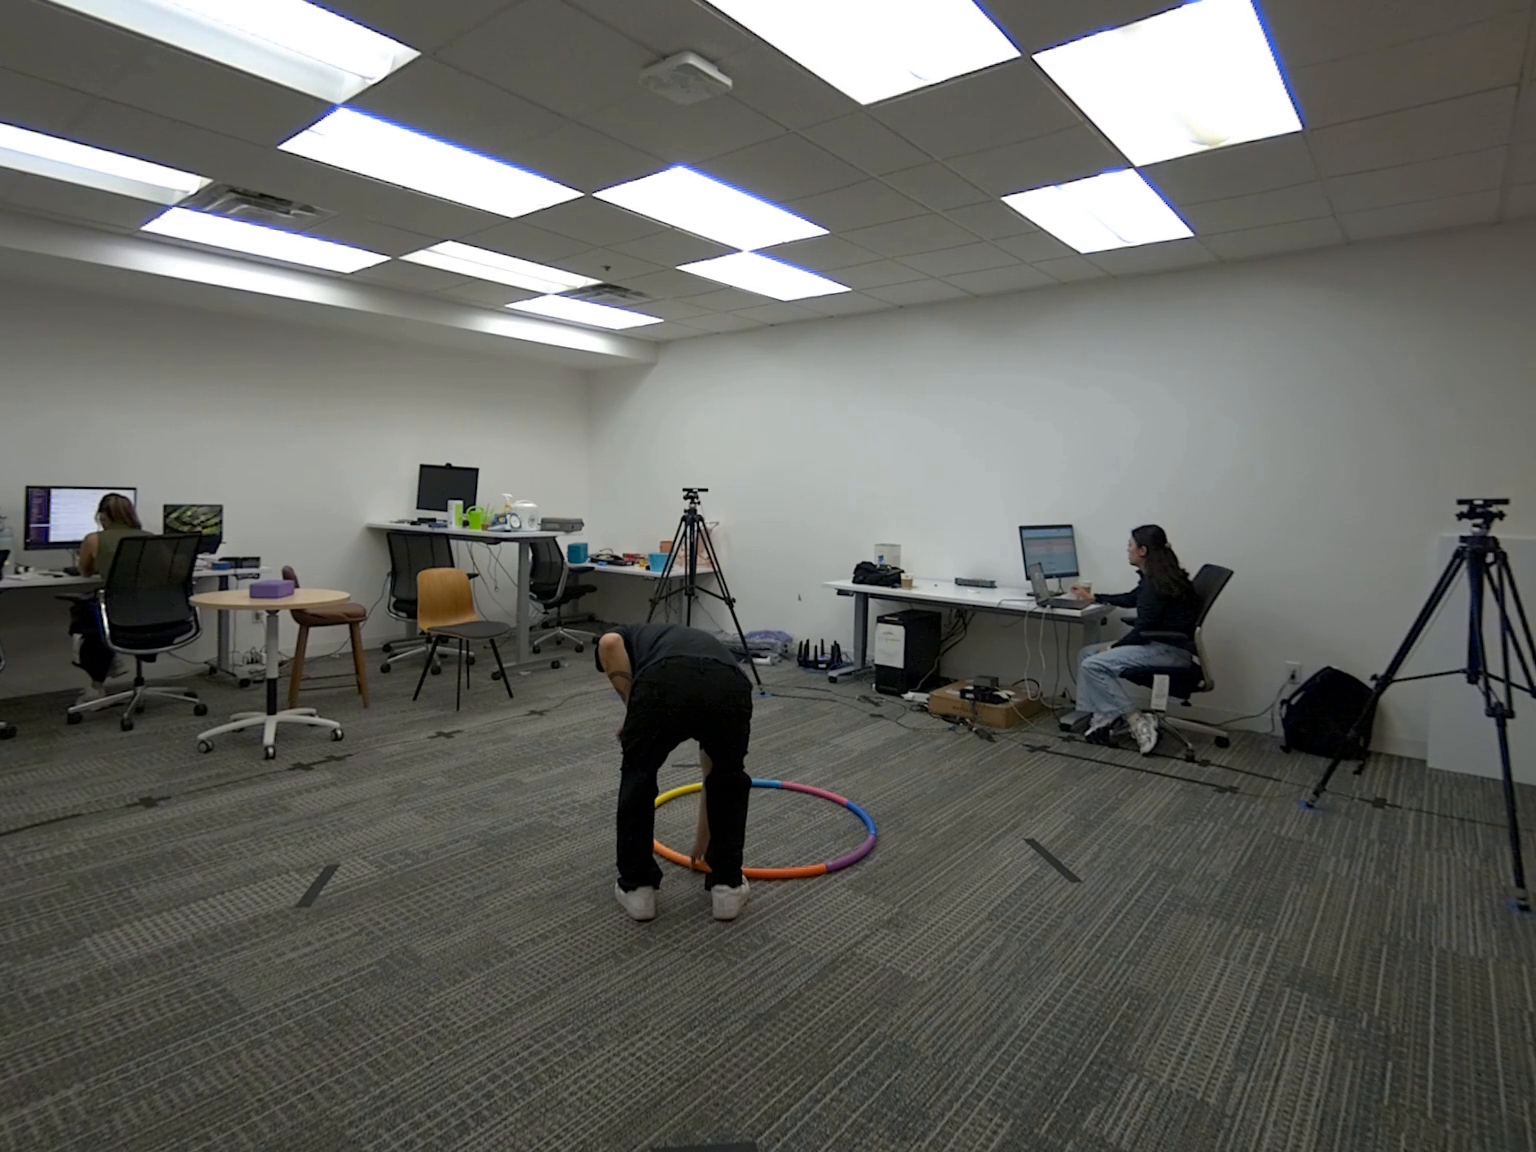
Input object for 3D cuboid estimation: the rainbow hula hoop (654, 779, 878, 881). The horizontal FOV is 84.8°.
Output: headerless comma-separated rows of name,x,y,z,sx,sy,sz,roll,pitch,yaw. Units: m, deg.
rainbow hula hoop,-0.059,1.005,3.515,0.978,0.035,0.984,1,6,-2
